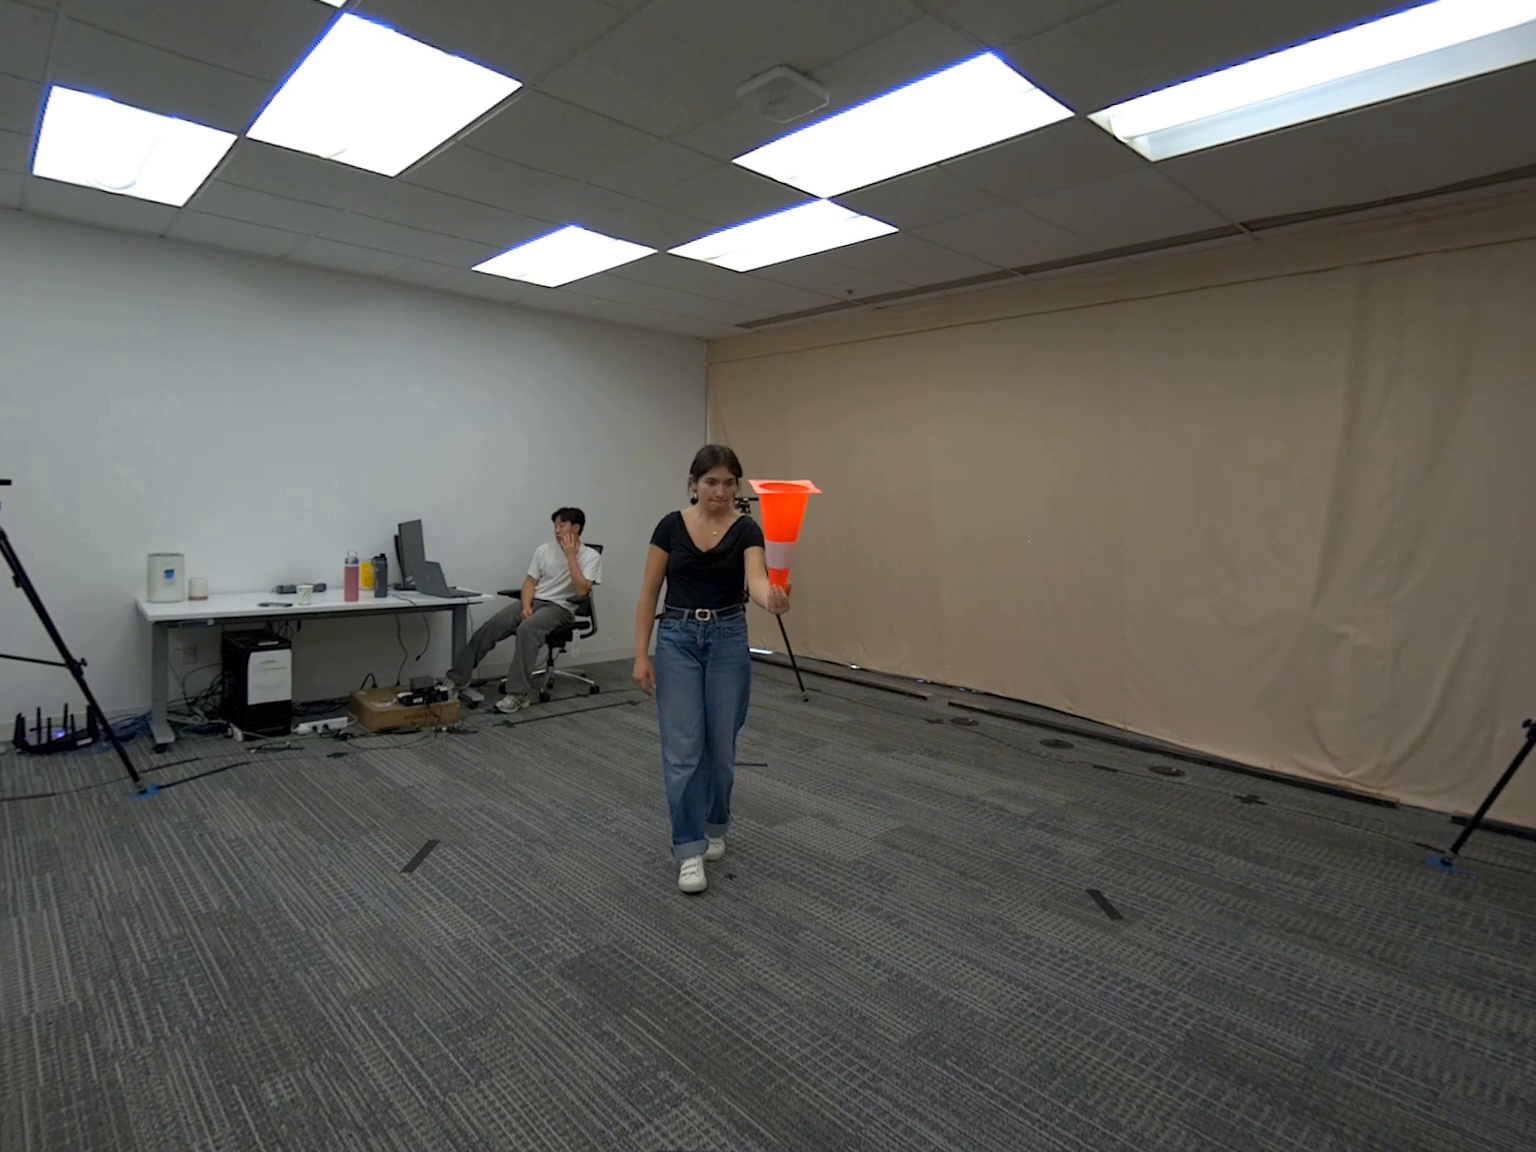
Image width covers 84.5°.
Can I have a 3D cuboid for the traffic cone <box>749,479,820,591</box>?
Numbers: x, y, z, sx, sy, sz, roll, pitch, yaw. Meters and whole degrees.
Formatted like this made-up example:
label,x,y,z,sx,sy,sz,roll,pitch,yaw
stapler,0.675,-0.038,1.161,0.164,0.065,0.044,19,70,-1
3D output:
label,x,y,z,sx,sy,sz,roll,pitch,yaw
traffic cone,0.030,-0.084,2.625,0.203,0.380,0.207,2,16,-11
